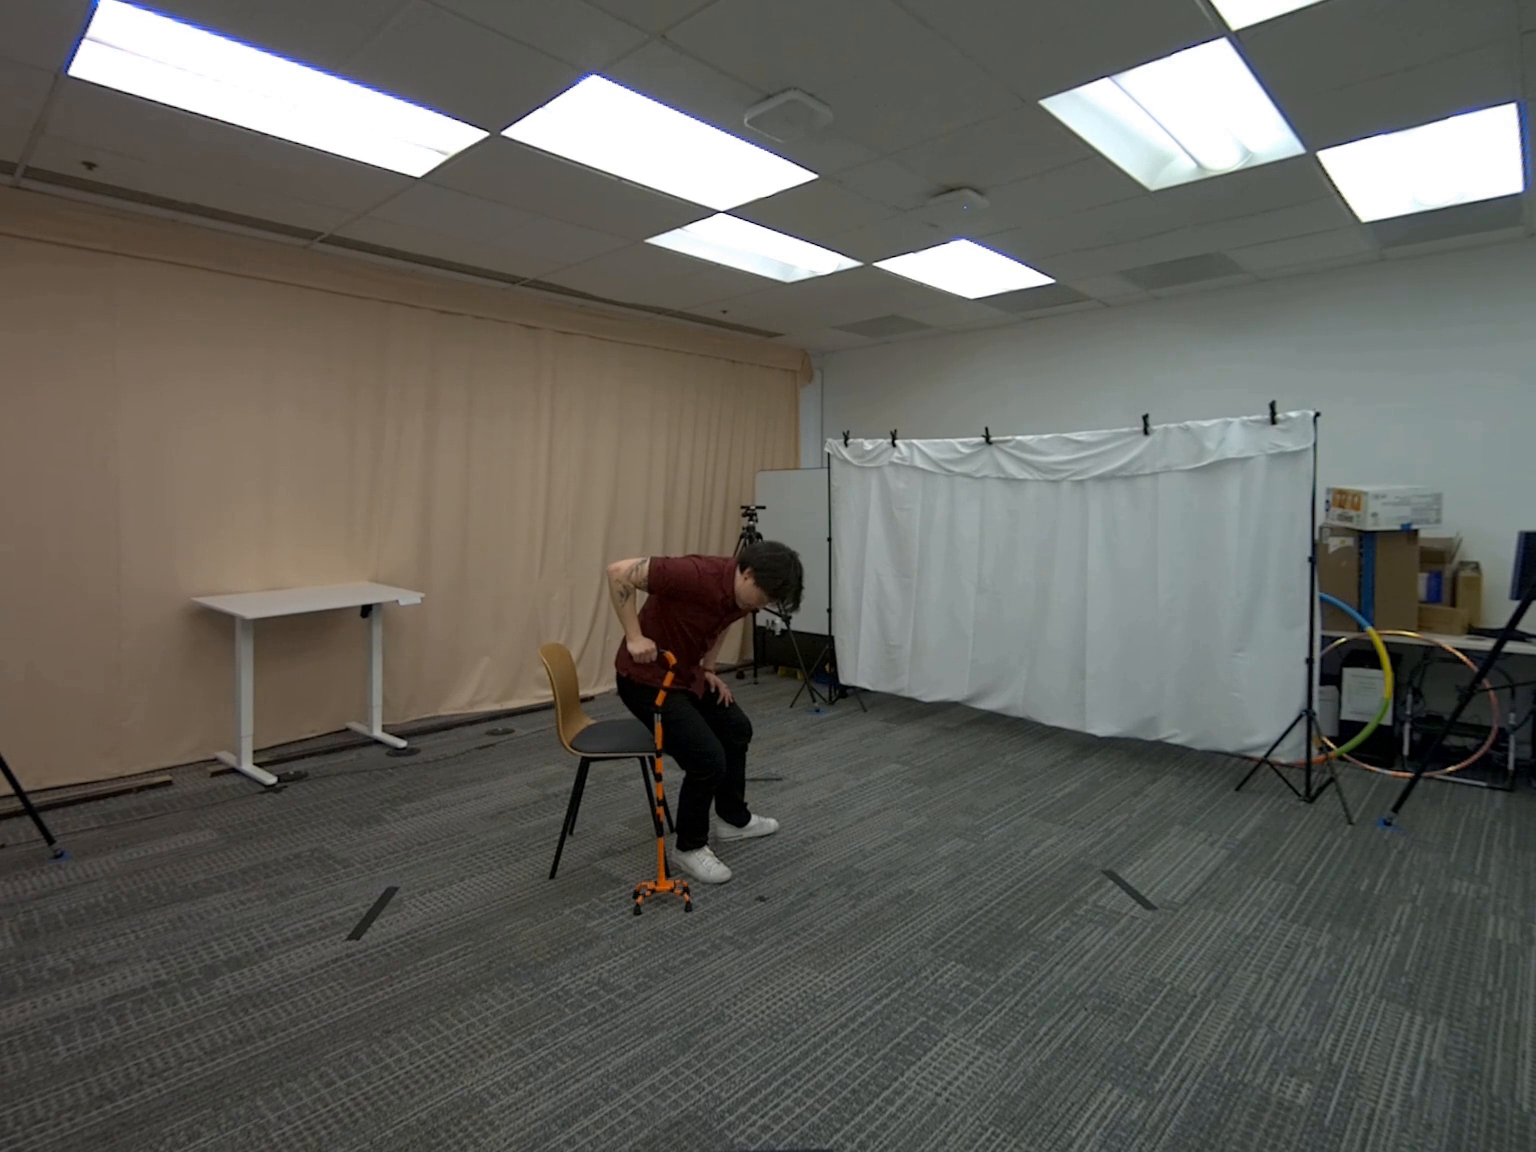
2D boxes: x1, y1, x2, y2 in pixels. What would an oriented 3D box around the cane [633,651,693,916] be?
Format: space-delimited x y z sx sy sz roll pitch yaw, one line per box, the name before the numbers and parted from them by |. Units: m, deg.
cane | -0.373 0.707 2.921 0.205 0.905 0.153 0 4 -9
